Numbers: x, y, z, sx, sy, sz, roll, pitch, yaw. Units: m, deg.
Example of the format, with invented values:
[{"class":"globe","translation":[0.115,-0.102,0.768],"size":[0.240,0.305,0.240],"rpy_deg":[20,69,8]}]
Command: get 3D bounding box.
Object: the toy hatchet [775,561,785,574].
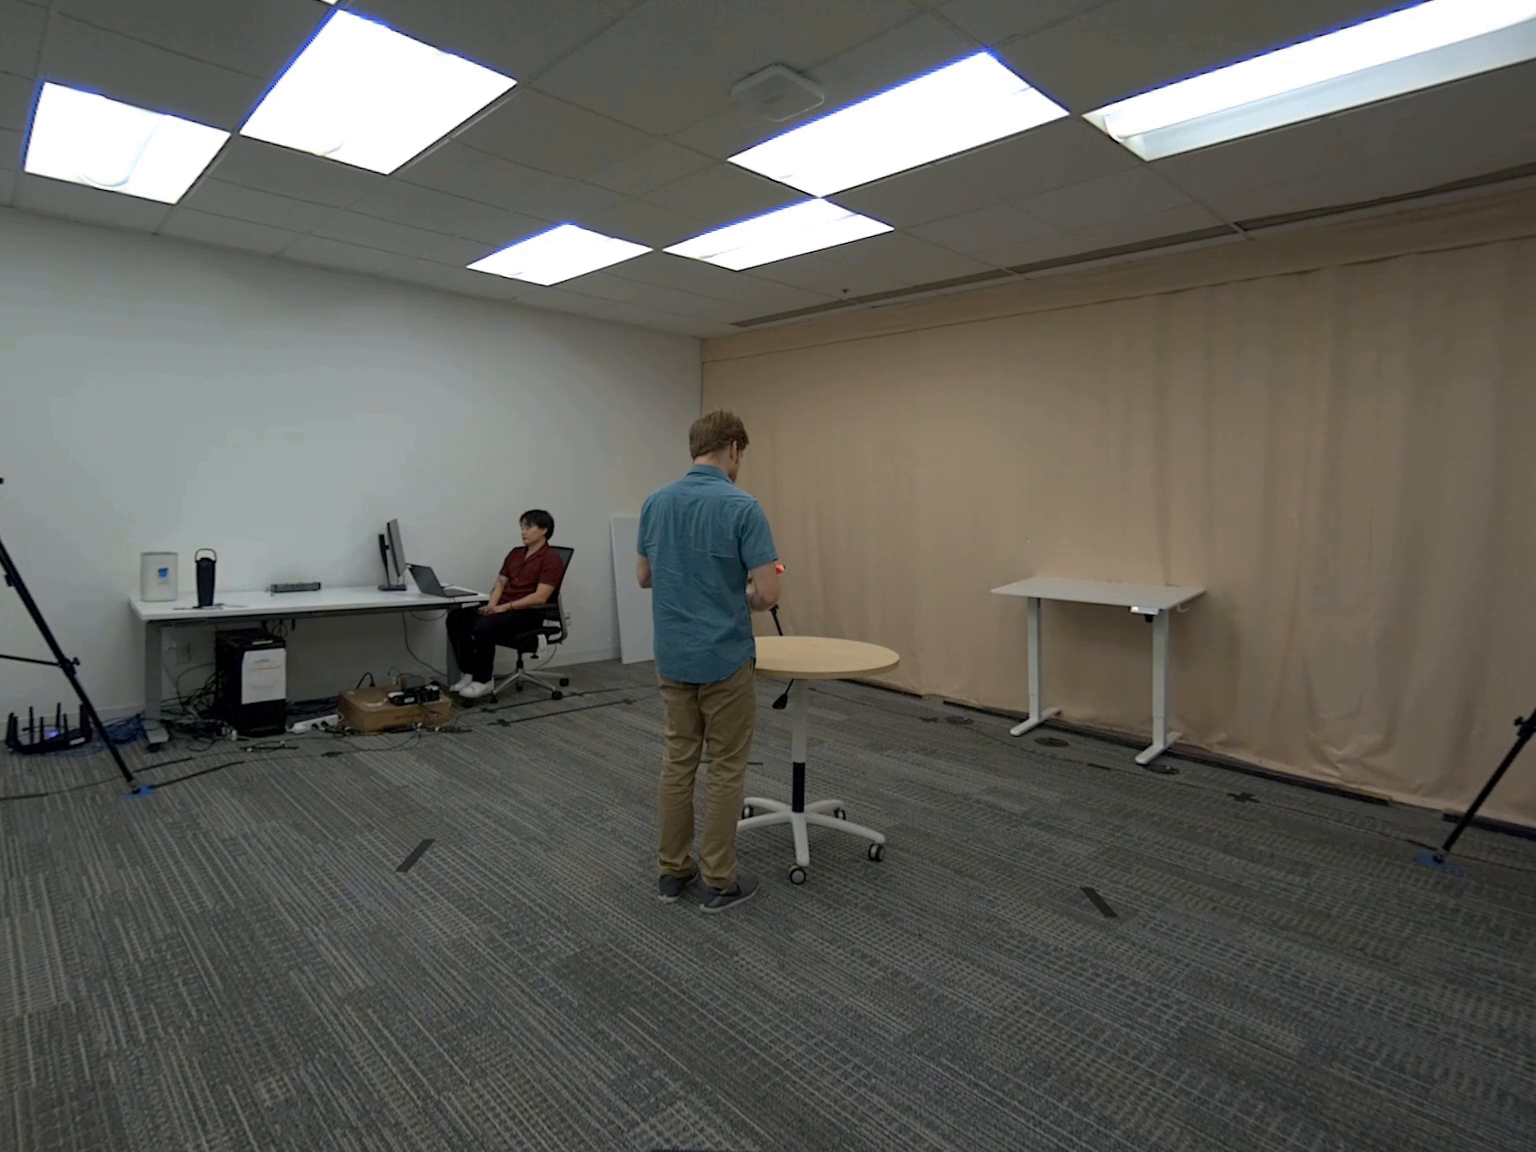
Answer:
[{"class":"toy hatchet","translation":[-0.073,0.008,3.170],"size":[0.271,0.029,0.132],"rpy_deg":[-14,12,7]}]
